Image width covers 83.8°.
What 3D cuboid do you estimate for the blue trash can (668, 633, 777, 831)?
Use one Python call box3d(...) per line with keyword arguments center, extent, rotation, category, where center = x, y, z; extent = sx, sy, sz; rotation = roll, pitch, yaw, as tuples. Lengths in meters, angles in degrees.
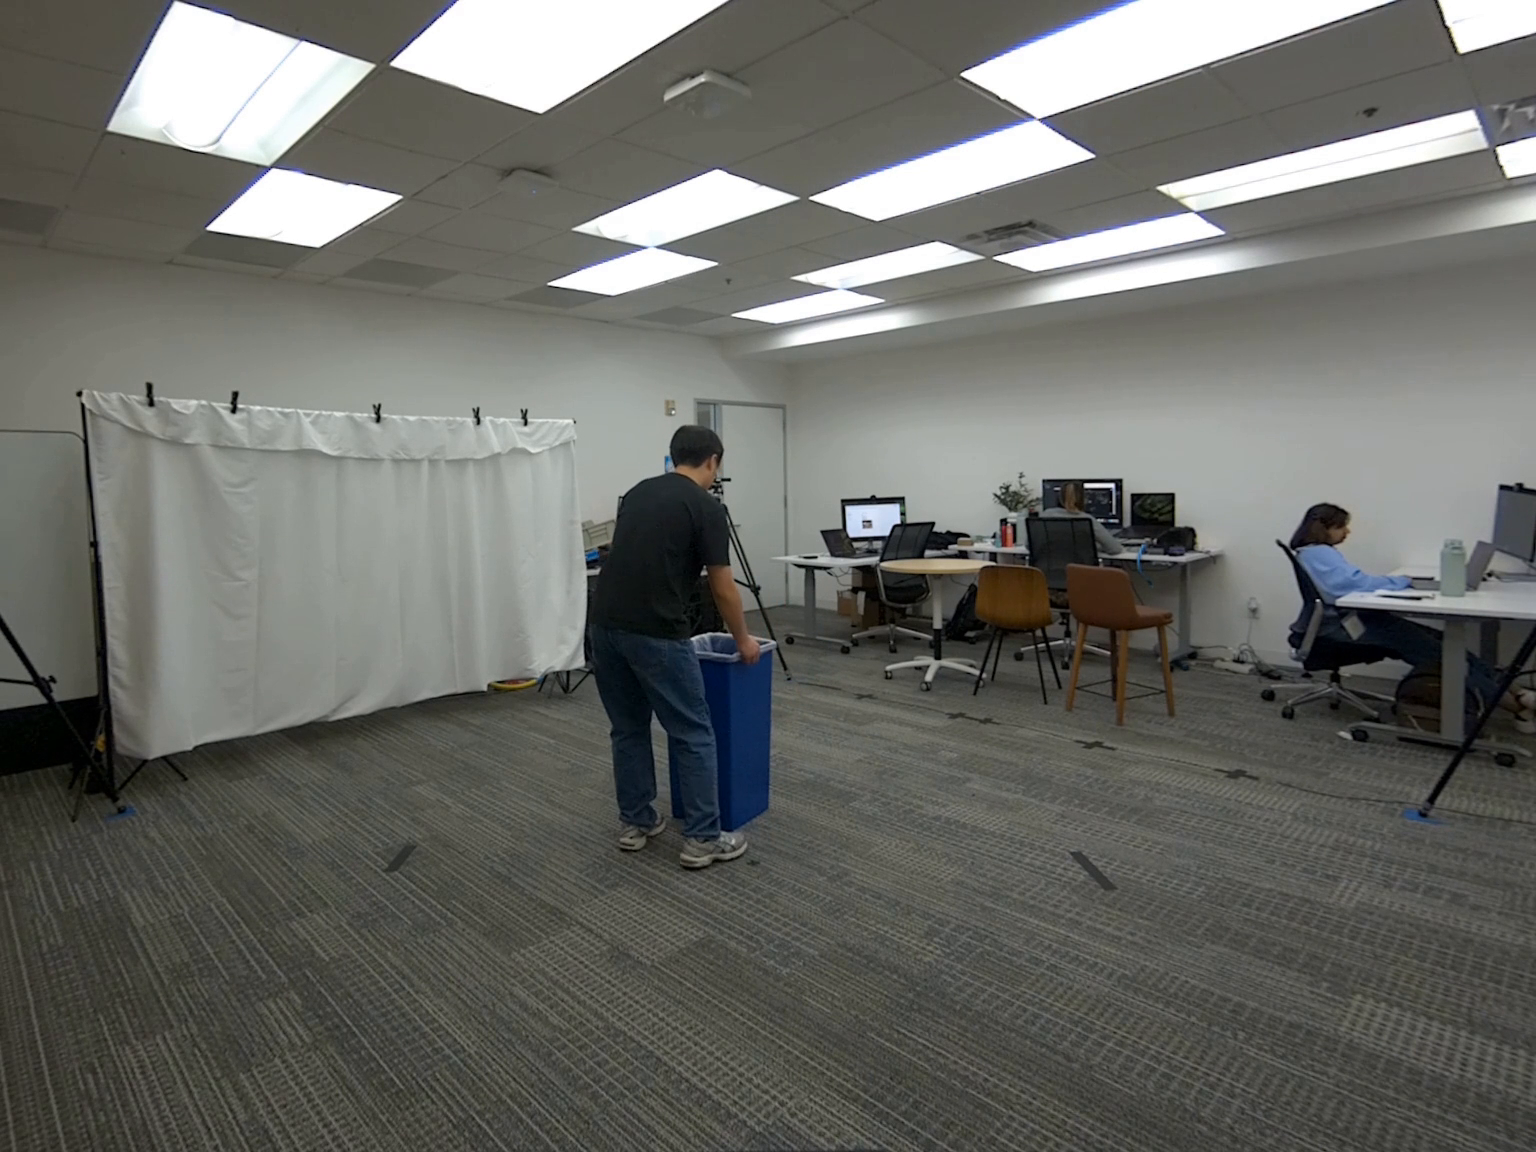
box3d(center=(-0.187, 0.635, 3.560), extent=(0.384, 0.711, 0.369), rotation=(1, 5, 32), category="blue trash can")
